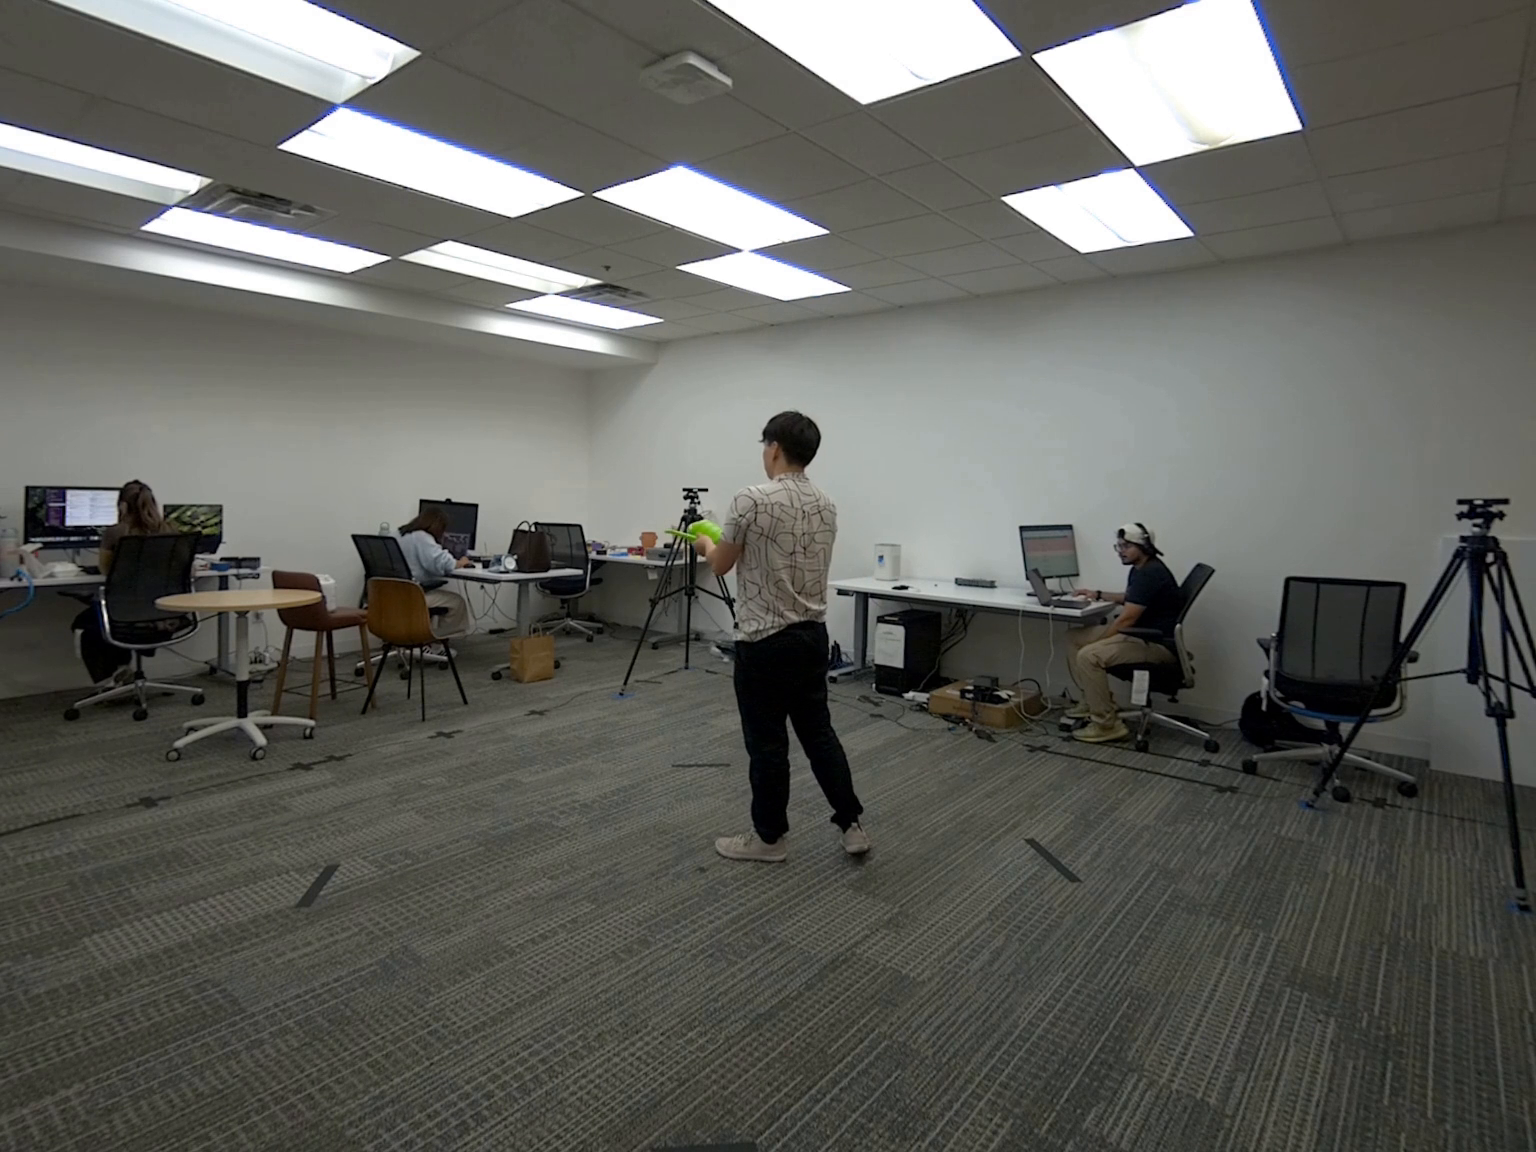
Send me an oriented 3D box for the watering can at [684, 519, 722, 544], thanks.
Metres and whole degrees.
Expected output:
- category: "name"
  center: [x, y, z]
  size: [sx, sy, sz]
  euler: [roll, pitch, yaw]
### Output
- category: "watering can"
  center: [-0.277, -0.156, 3.504]
  size: [0.183, 0.096, 0.274]
  euler: [31, 41, 26]
